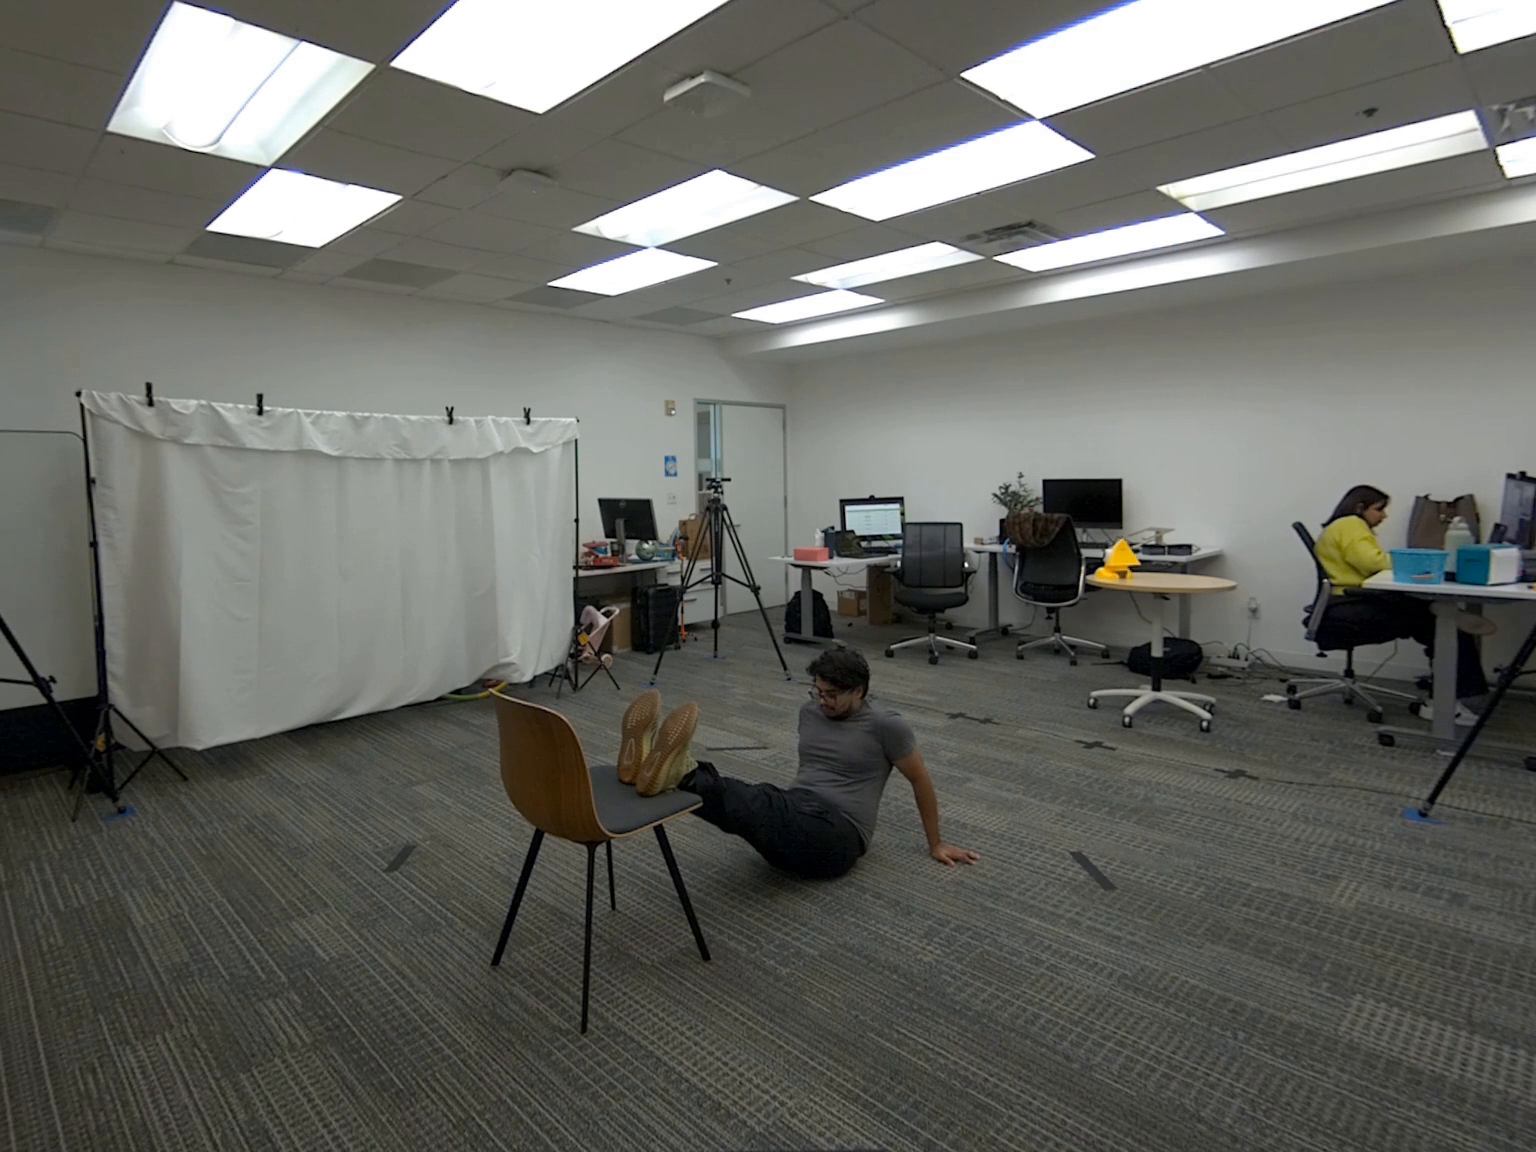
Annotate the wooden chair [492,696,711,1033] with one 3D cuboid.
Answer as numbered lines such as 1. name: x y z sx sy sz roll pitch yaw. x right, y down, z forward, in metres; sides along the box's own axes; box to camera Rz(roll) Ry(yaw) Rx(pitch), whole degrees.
1. wooden chair: -0.482 0.703 2.451 0.493 0.871 0.511 4 10 43
